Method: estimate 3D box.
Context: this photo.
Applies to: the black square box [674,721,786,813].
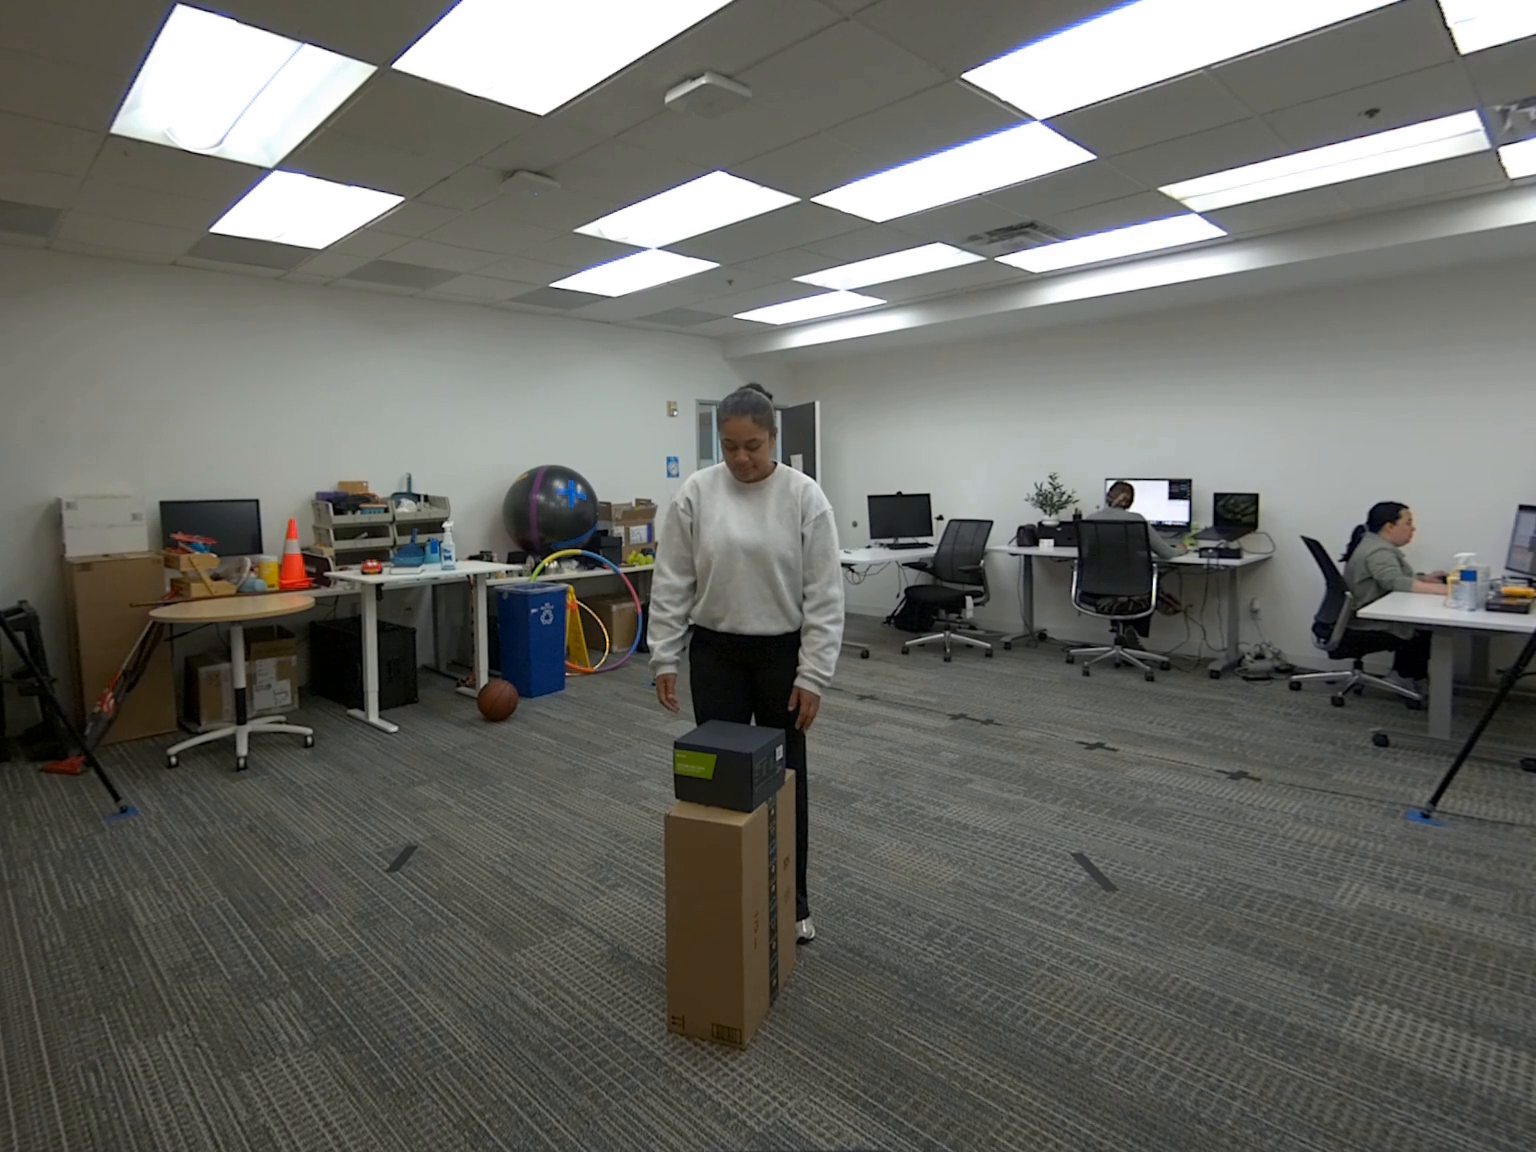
[{"bbox_3d":[-0.102,0.500,2.276,0.233,0.155,0.213,2,7,25],"label":"black square box"}]
